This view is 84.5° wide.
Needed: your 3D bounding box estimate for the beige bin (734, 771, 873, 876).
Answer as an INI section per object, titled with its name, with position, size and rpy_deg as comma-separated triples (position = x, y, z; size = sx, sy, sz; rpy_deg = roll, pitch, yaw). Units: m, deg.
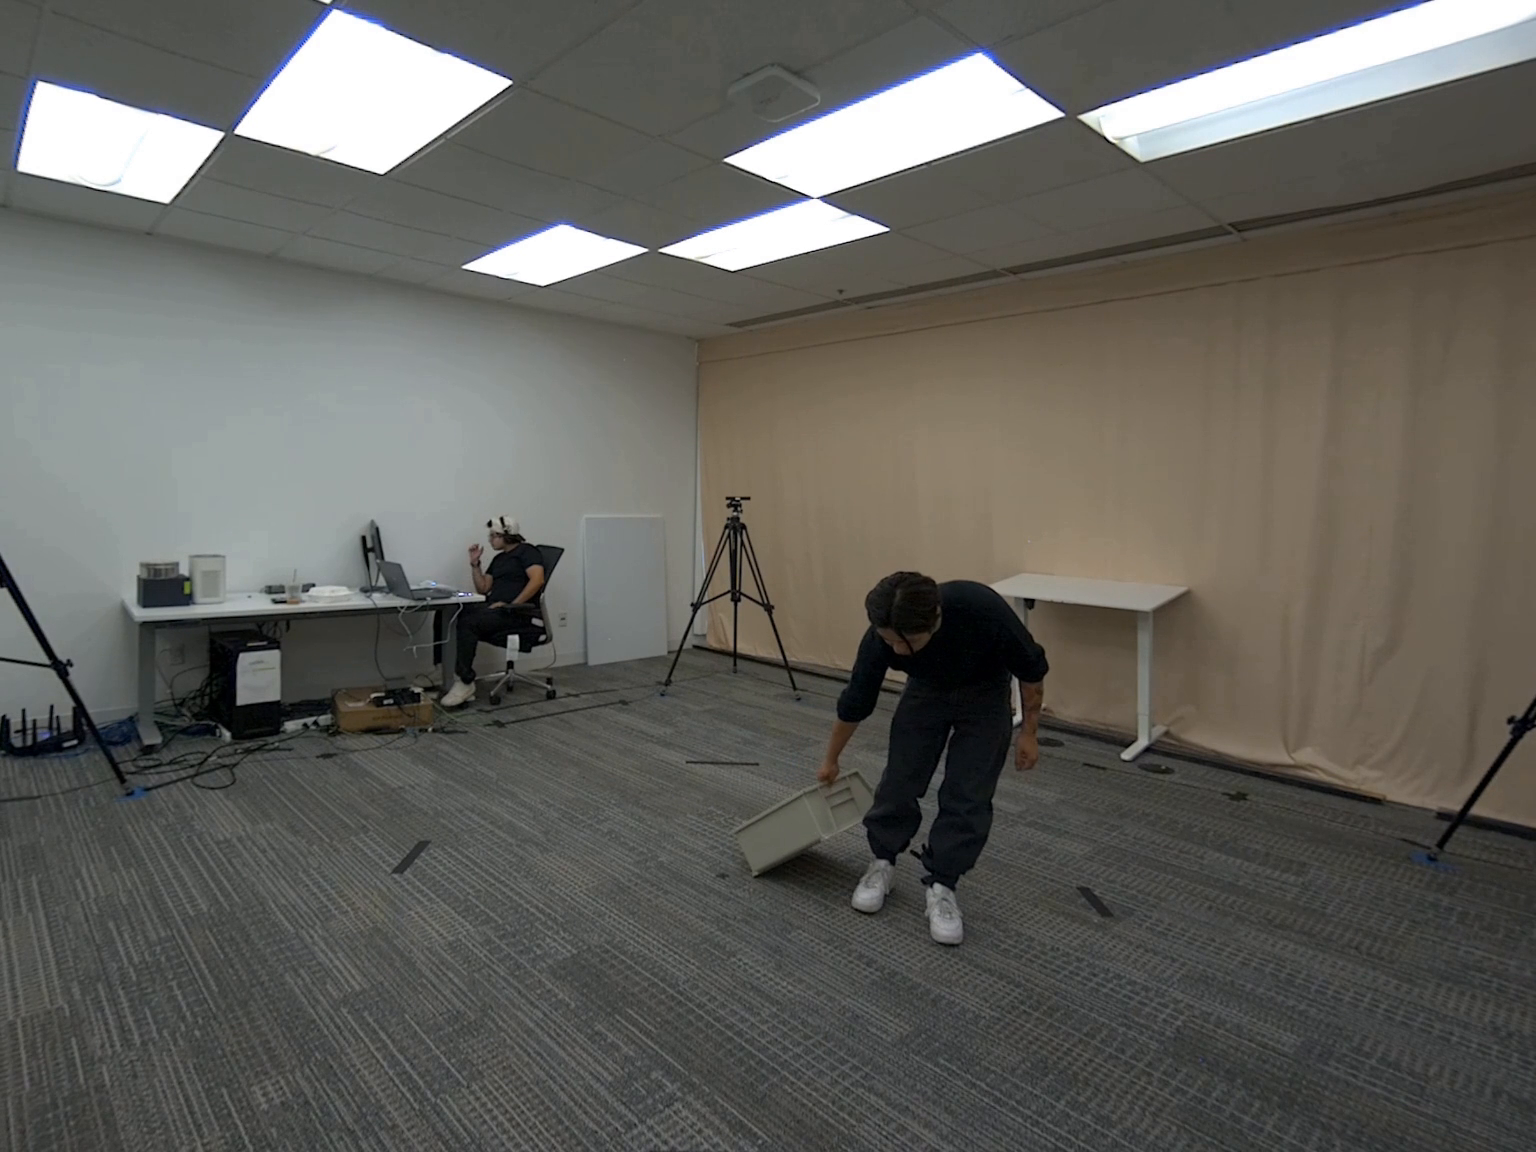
[beige bin]
position = 0.135, 0.917, 3.139
size = 0.369, 0.192, 0.424
rpy_deg = -6, -26, -49
